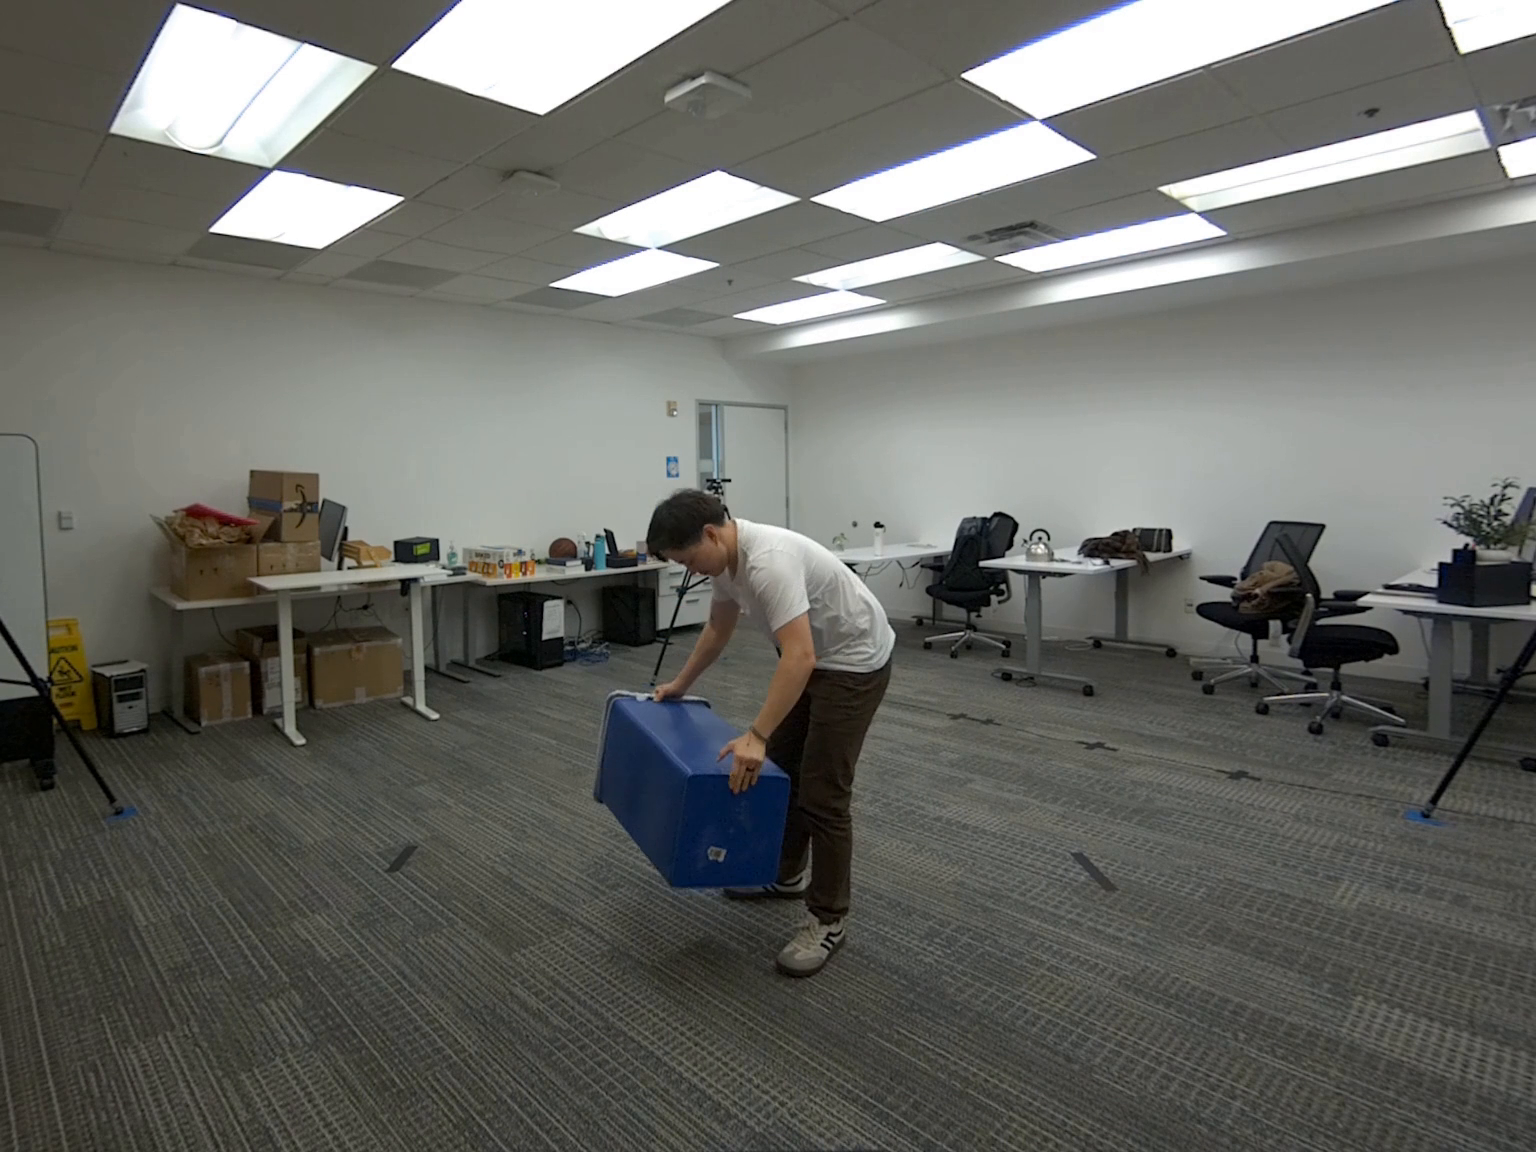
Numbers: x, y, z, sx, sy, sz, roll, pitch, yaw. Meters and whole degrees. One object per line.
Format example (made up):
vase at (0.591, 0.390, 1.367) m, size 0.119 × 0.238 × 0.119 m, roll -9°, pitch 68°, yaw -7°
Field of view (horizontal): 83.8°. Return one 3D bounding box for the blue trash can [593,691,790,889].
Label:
blue trash can at (-0.237, 0.622, 2.551) m, size 0.365 × 0.377 × 0.732 m, roll 8°, pitch 3°, yaw -25°
